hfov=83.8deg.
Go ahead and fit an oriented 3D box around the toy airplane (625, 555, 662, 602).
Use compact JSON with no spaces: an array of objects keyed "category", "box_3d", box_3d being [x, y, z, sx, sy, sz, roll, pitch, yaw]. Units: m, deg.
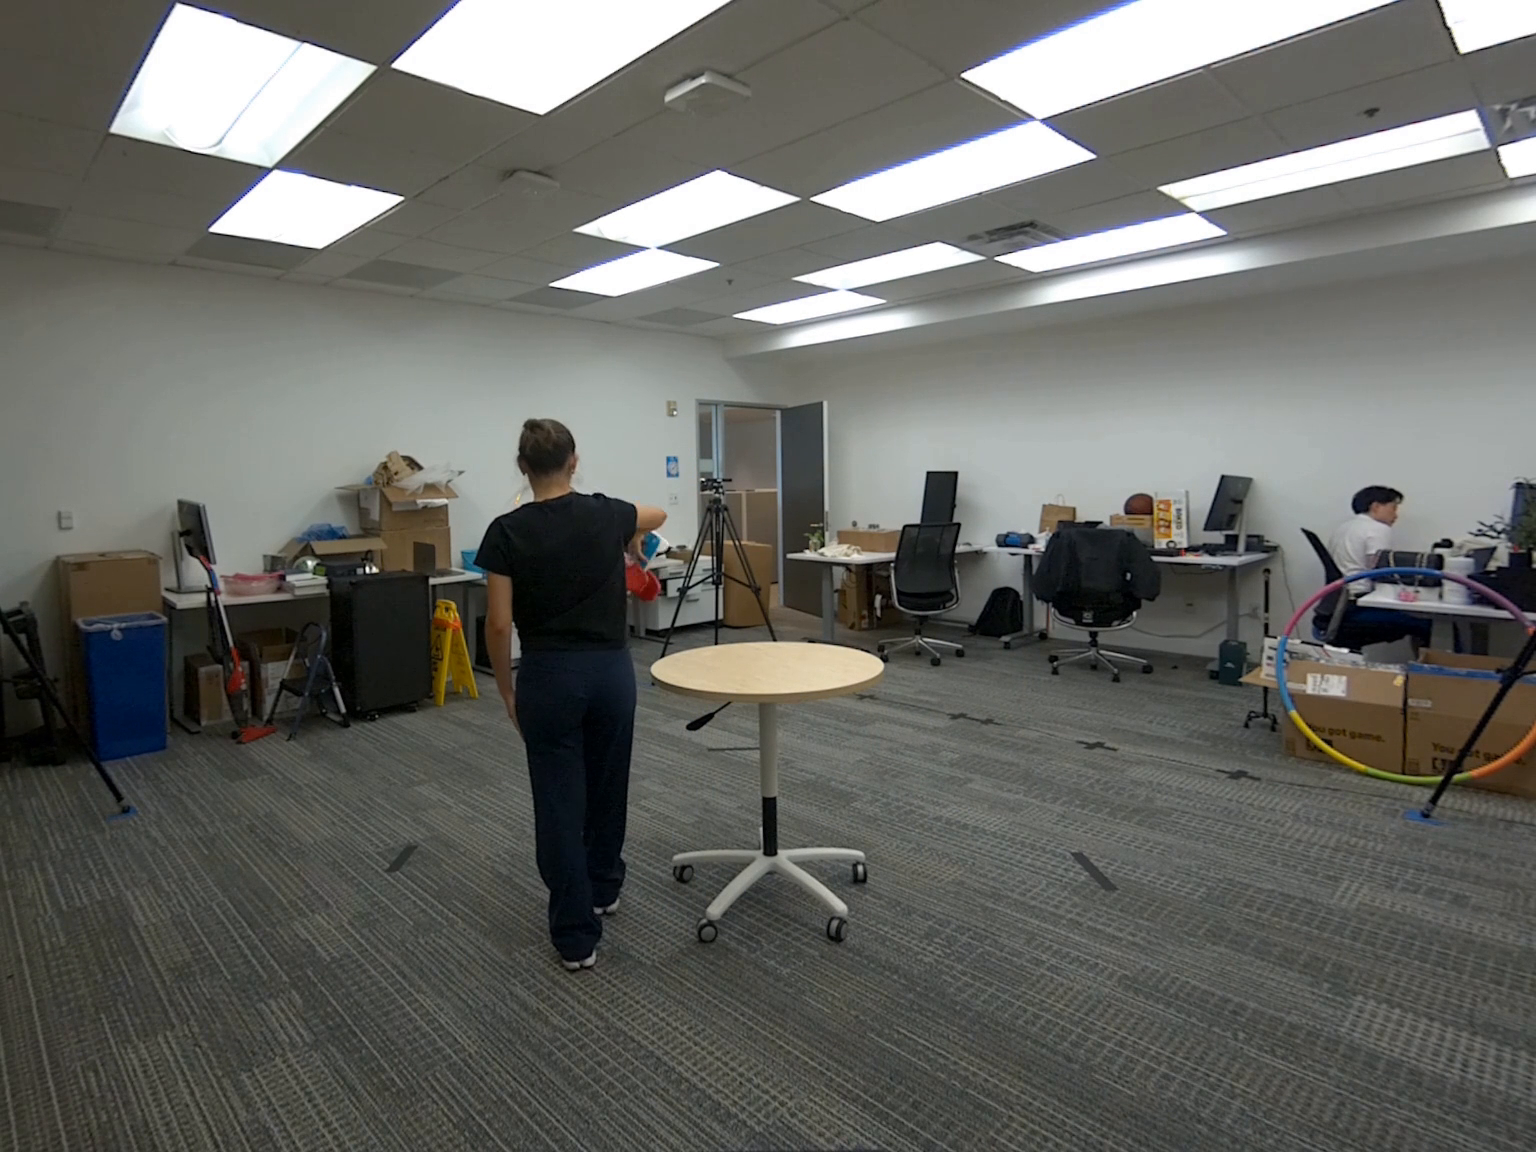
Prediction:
[{"category":"toy airplane","box_3d":[-0.475,-0.054,3.084,0.258,0.261,0.151,2,-11,39]}]
